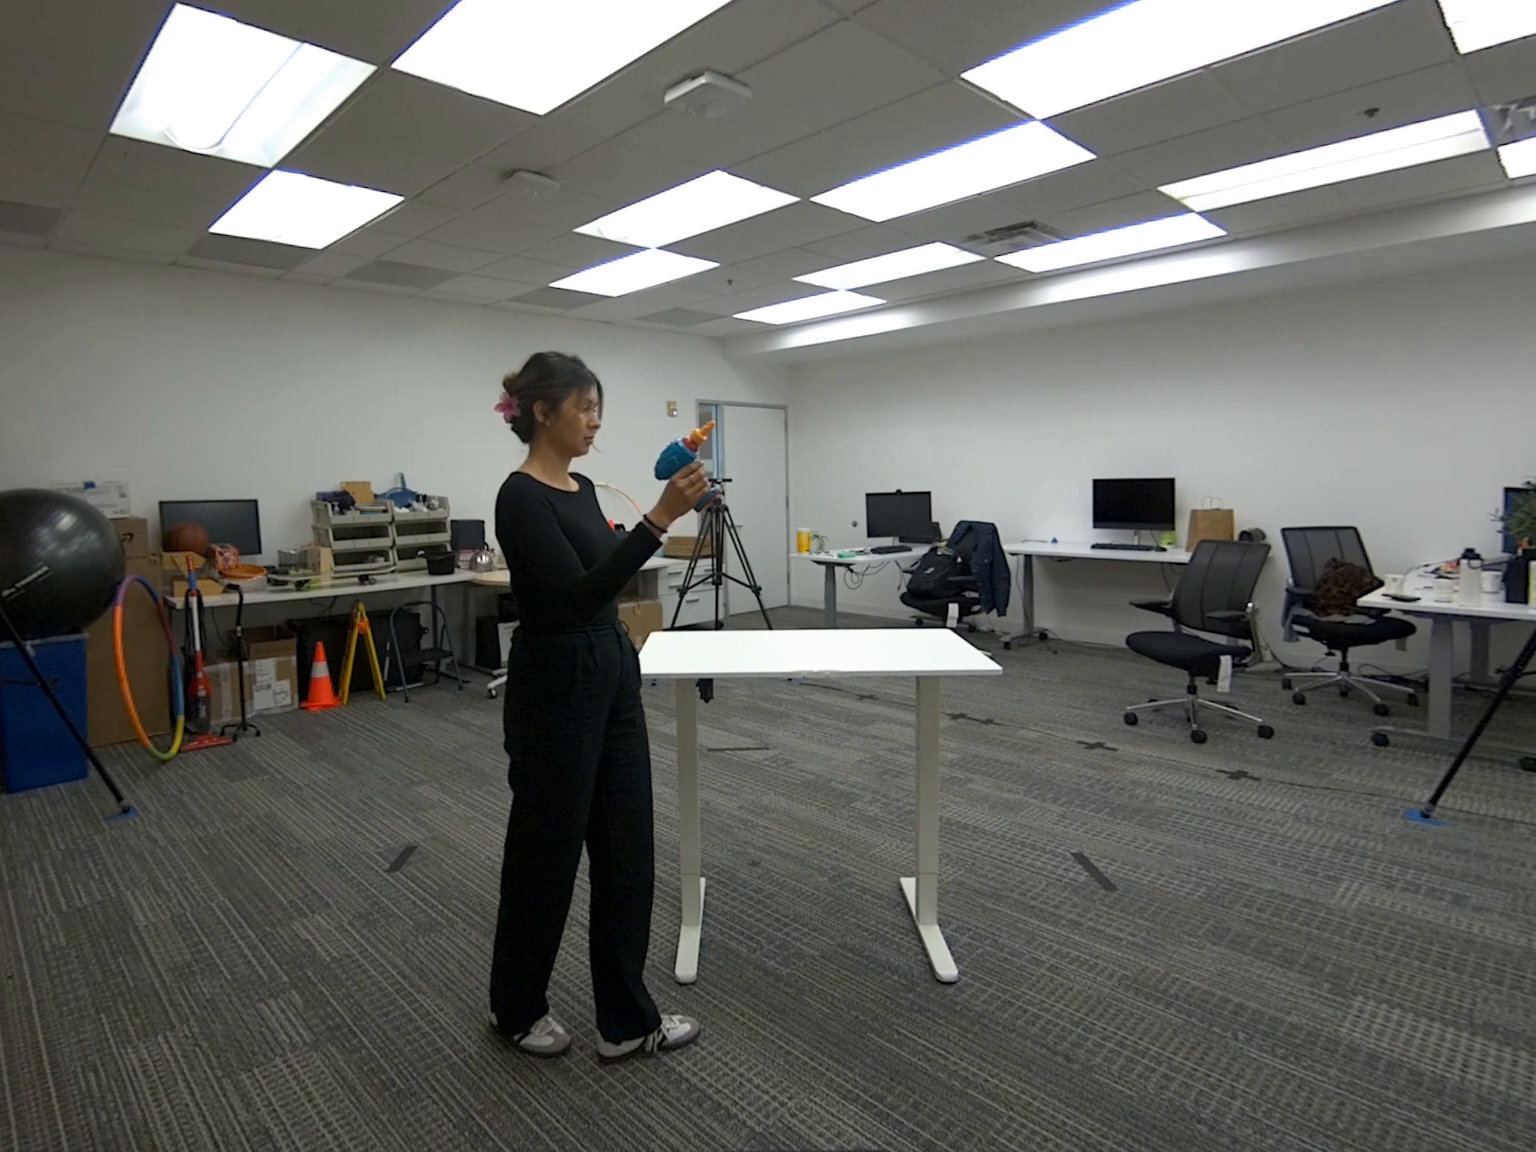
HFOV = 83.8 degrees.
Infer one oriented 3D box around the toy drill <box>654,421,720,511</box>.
[{"bbox_3d":[-0.140,-0.229,1.748,0.170,0.146,0.061,-41,0,17],"label":"toy drill"}]
